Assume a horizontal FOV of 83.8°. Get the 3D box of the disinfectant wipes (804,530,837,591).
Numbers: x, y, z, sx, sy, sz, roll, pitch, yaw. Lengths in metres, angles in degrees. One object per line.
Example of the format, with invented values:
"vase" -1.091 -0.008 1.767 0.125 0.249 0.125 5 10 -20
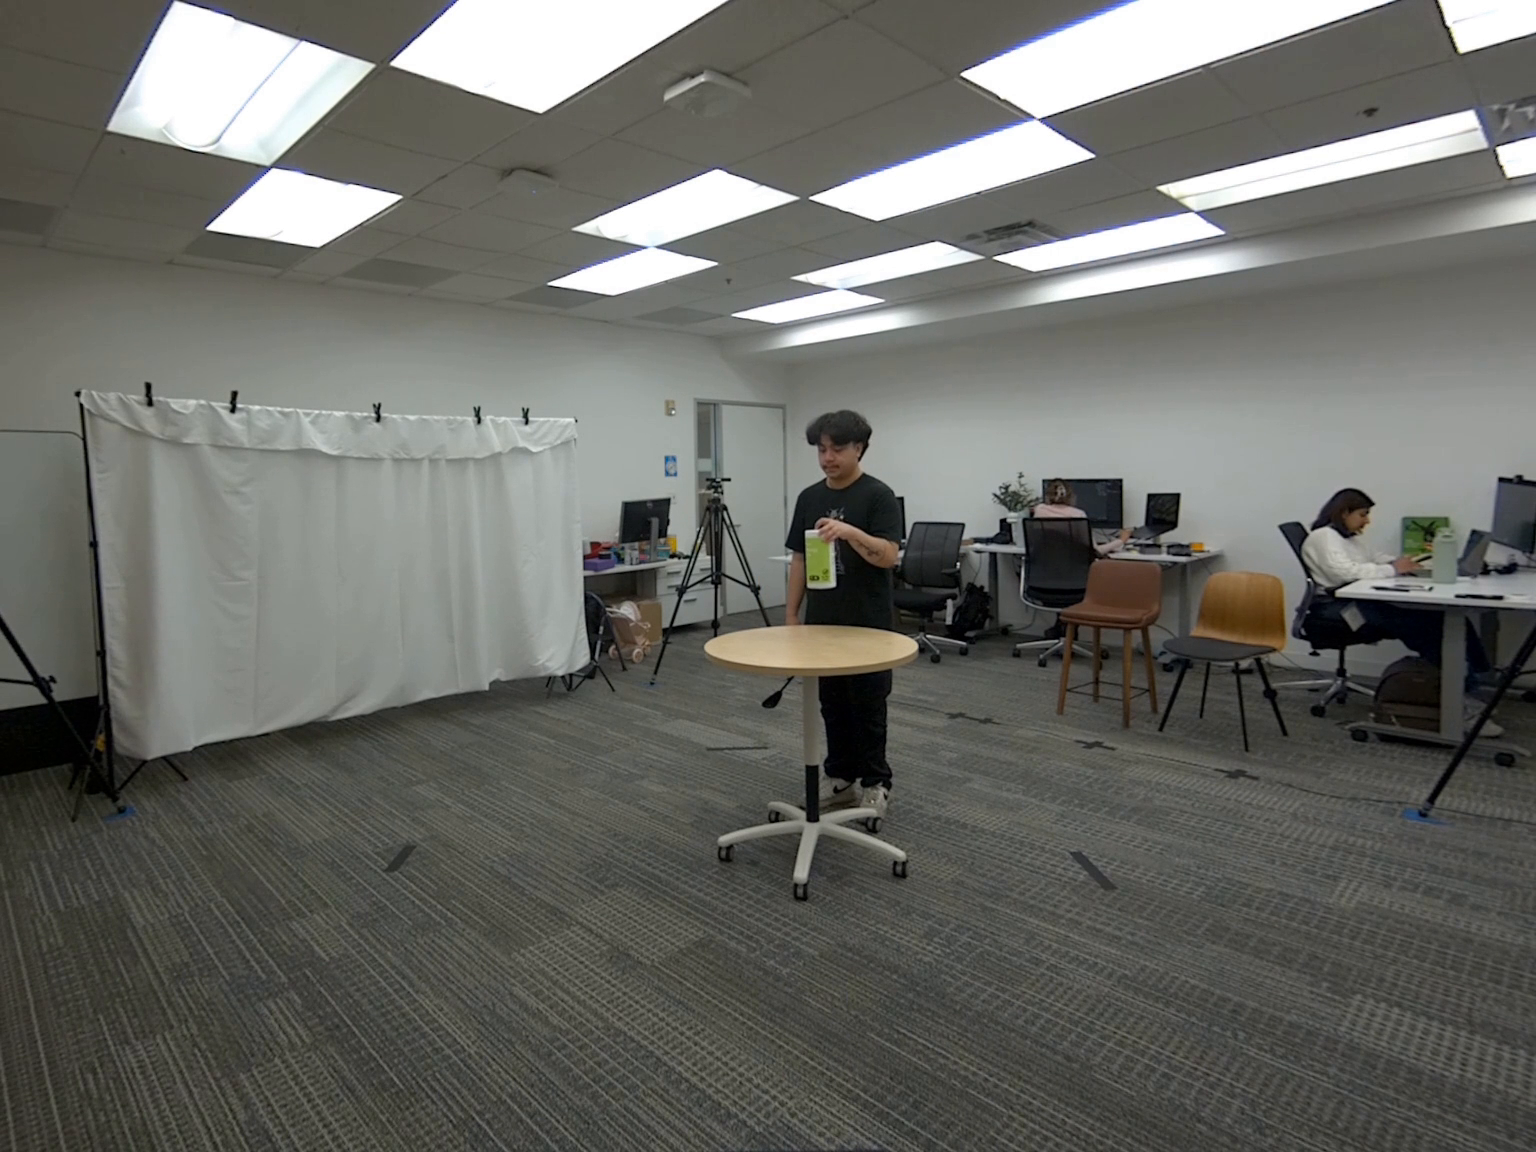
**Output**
"disinfectant wipes" 0.184 -0.059 3.181 0.118 0.217 0.118 -2 2 -2
